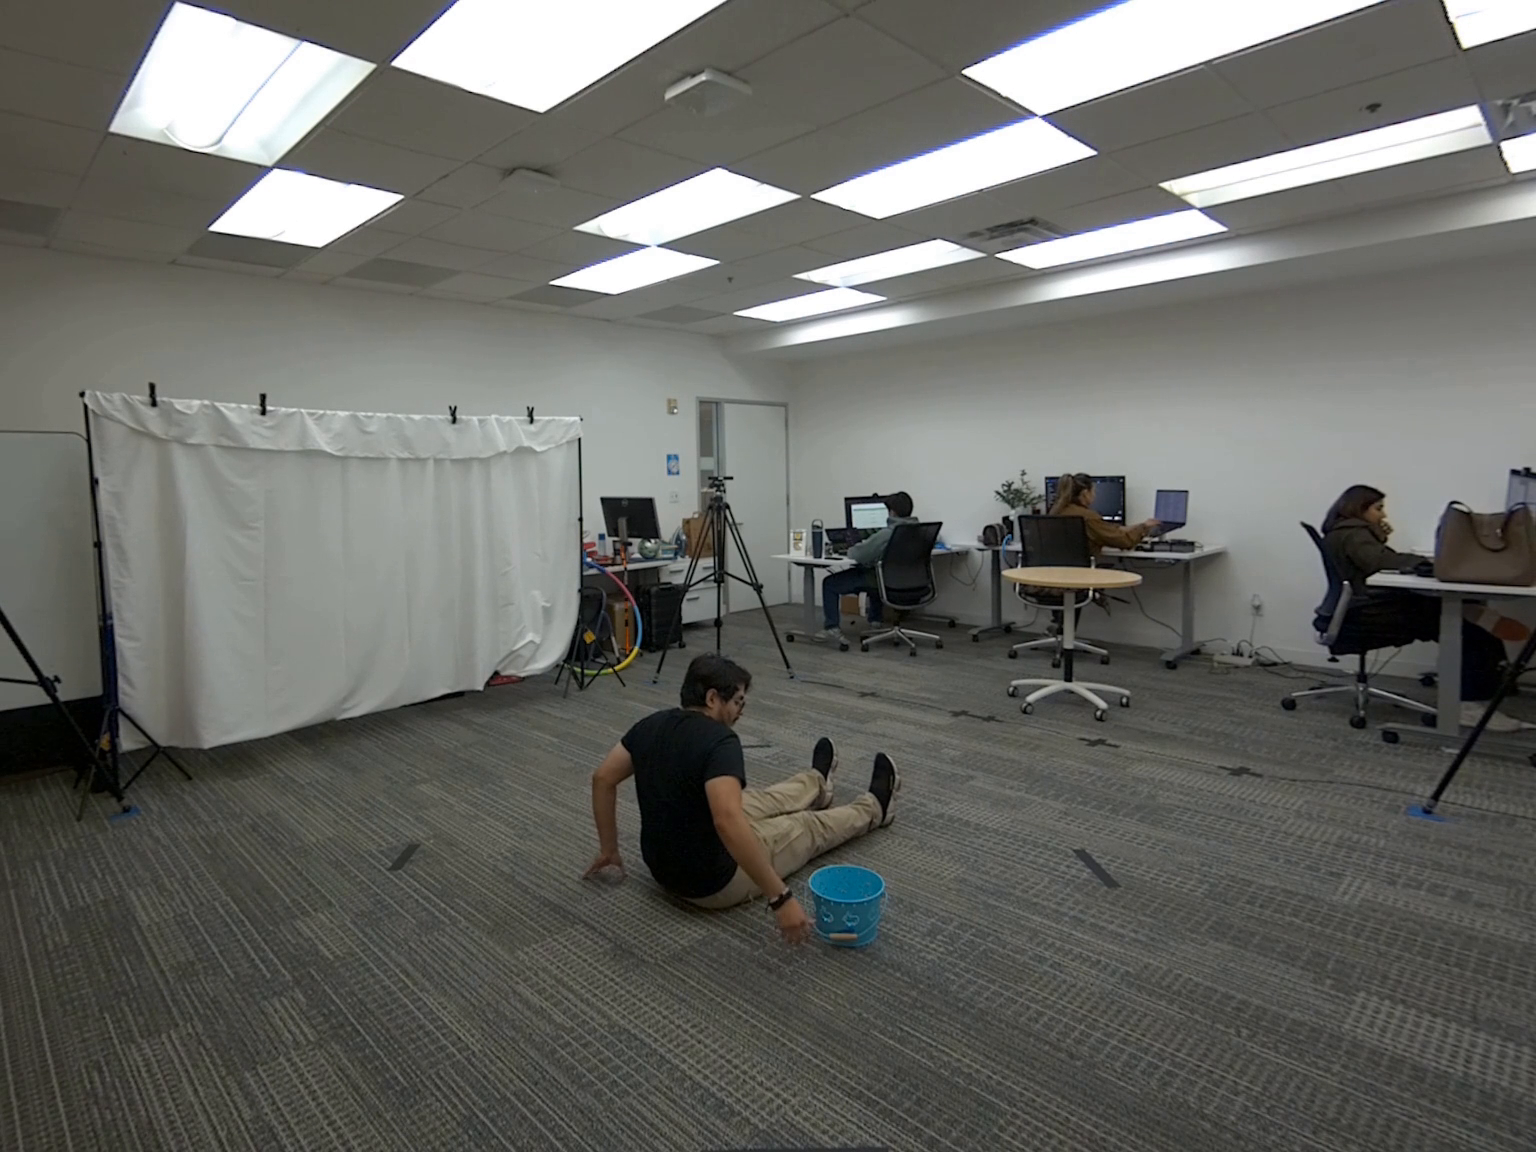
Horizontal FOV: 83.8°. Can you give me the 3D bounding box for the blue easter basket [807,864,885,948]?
[{"bbox_3d":[0.242,1.007,2.610,0.243,0.155,0.245,-2,6,-1],"label":"blue easter basket"}]
